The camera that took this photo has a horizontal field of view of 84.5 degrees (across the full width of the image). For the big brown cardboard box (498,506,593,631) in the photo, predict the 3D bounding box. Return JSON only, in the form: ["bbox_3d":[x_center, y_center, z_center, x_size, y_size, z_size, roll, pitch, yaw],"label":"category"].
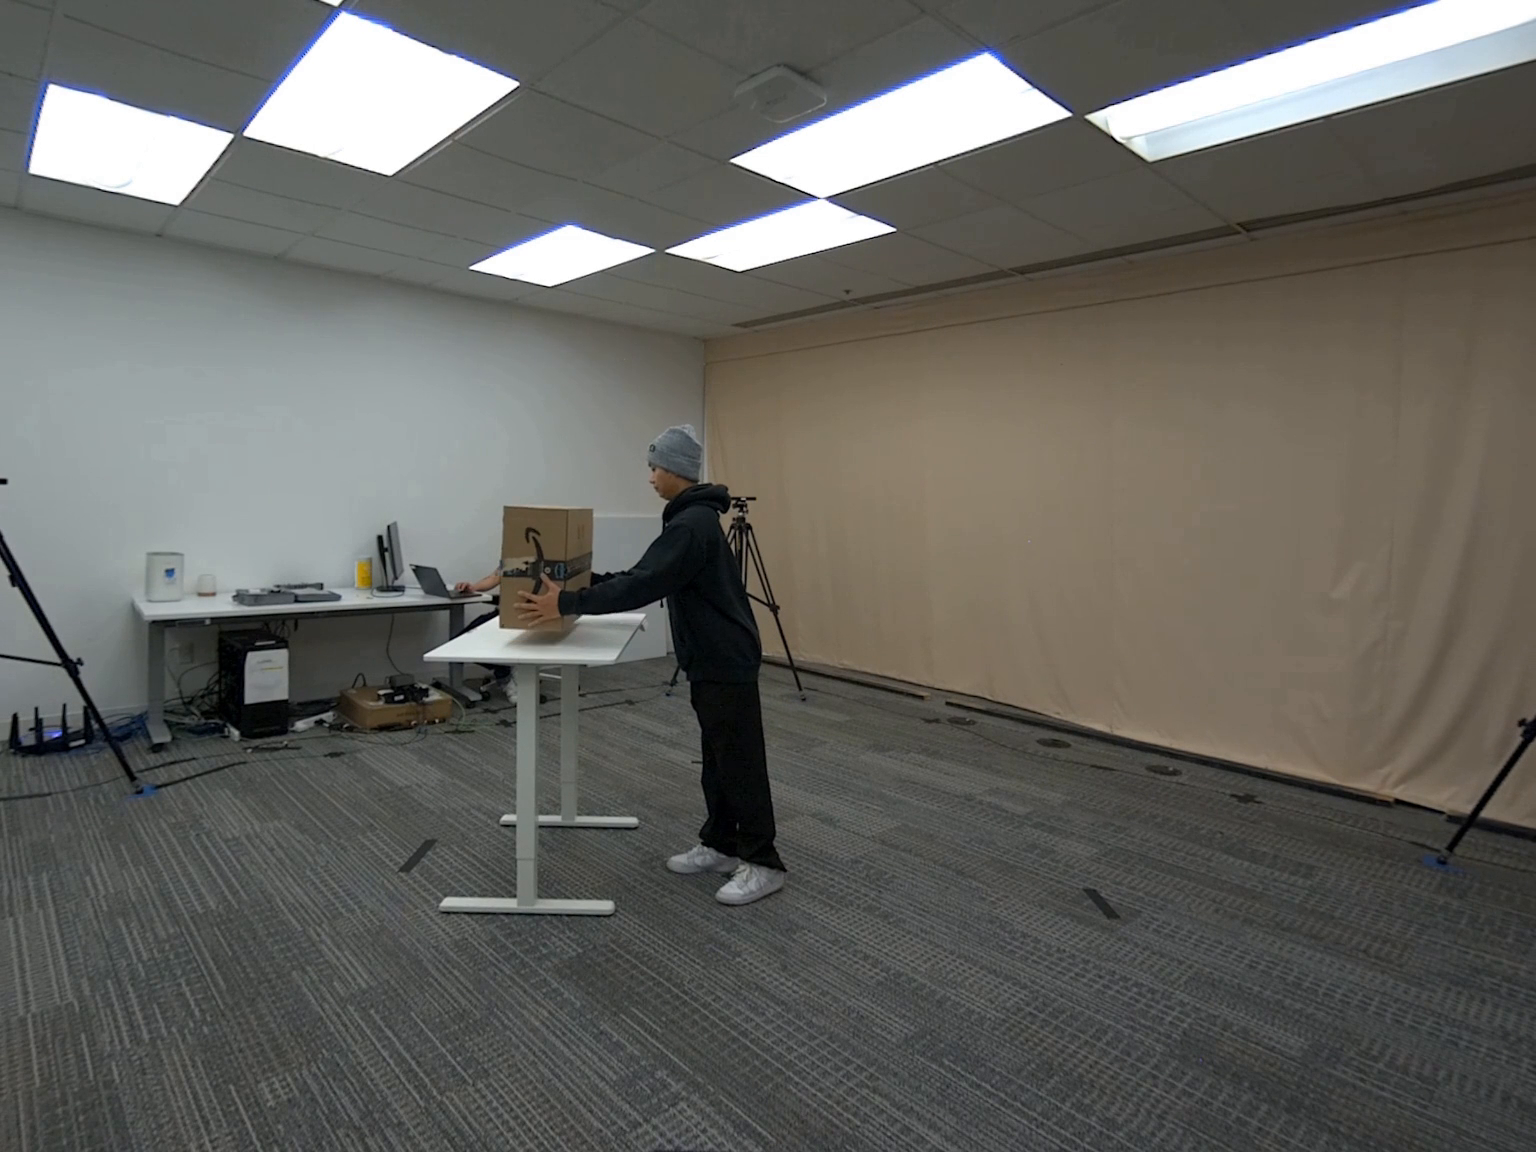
[{"bbox_3d":[-0.804,-0.047,3.091,0.233,0.417,0.591,3,4,-3],"label":"big brown cardboard box"}]
